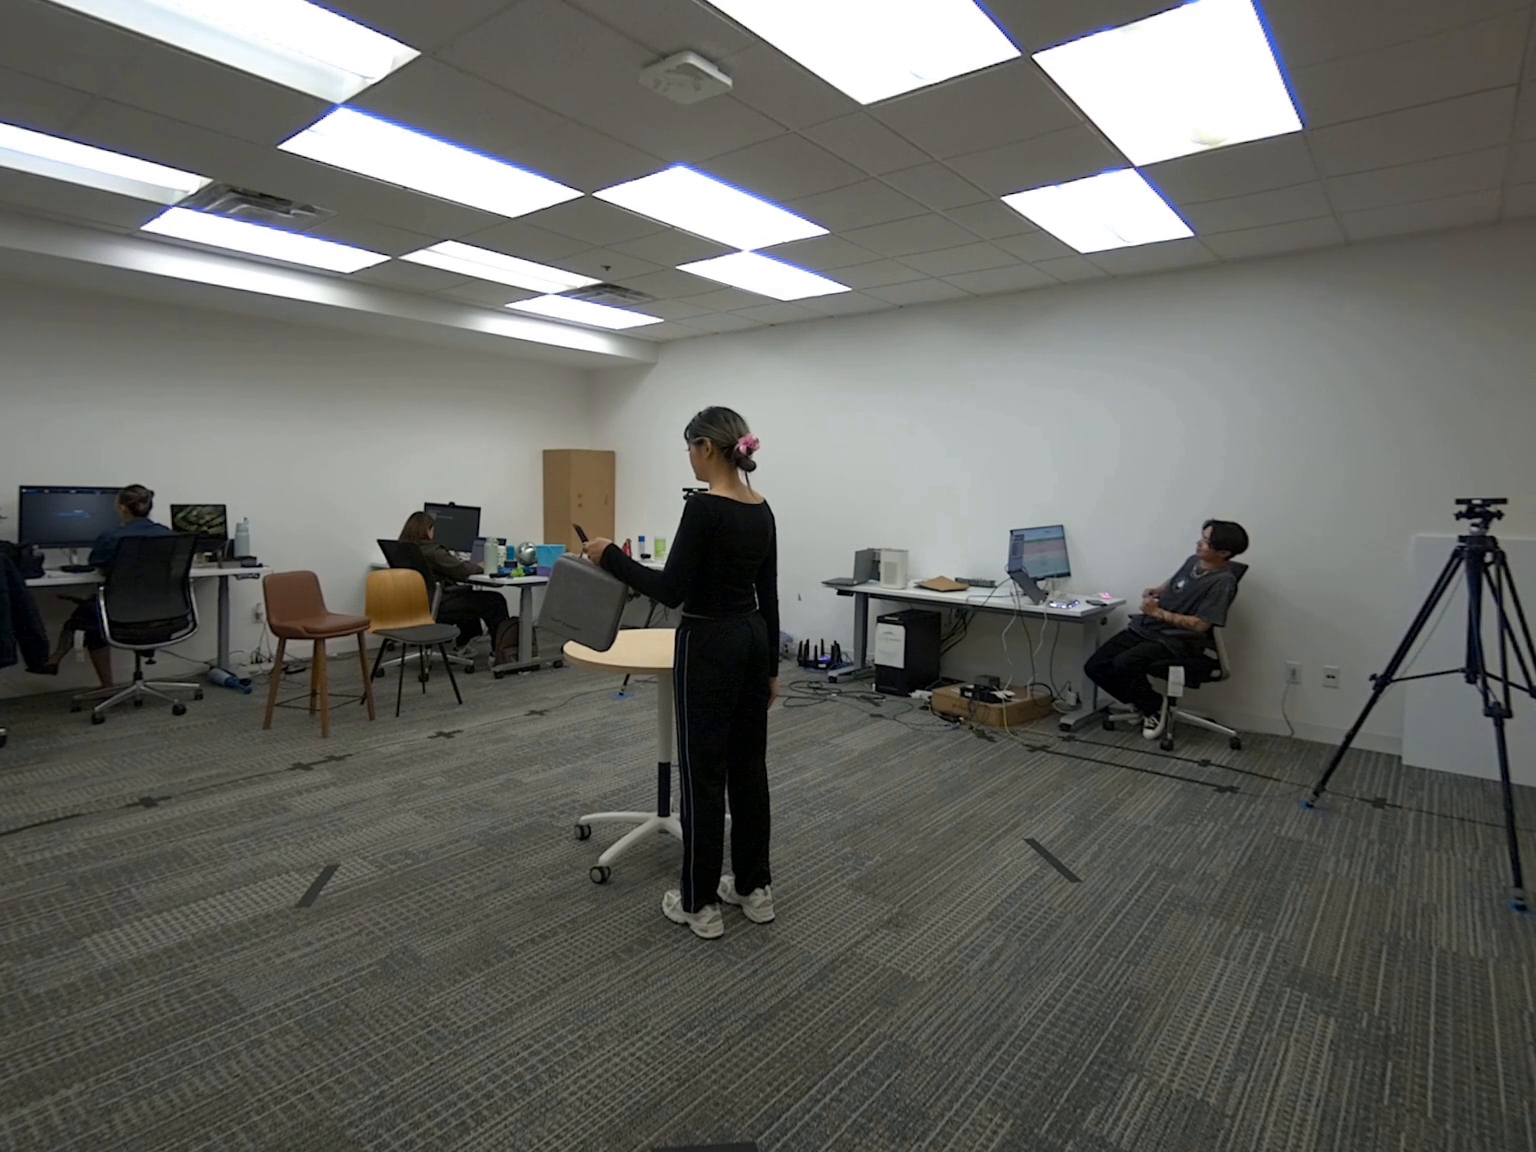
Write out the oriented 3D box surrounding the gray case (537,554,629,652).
[{"bbox_3d":[-0.592,0.076,2.680,0.260,0.259,0.104,22,13,8],"label":"gray case"}]
